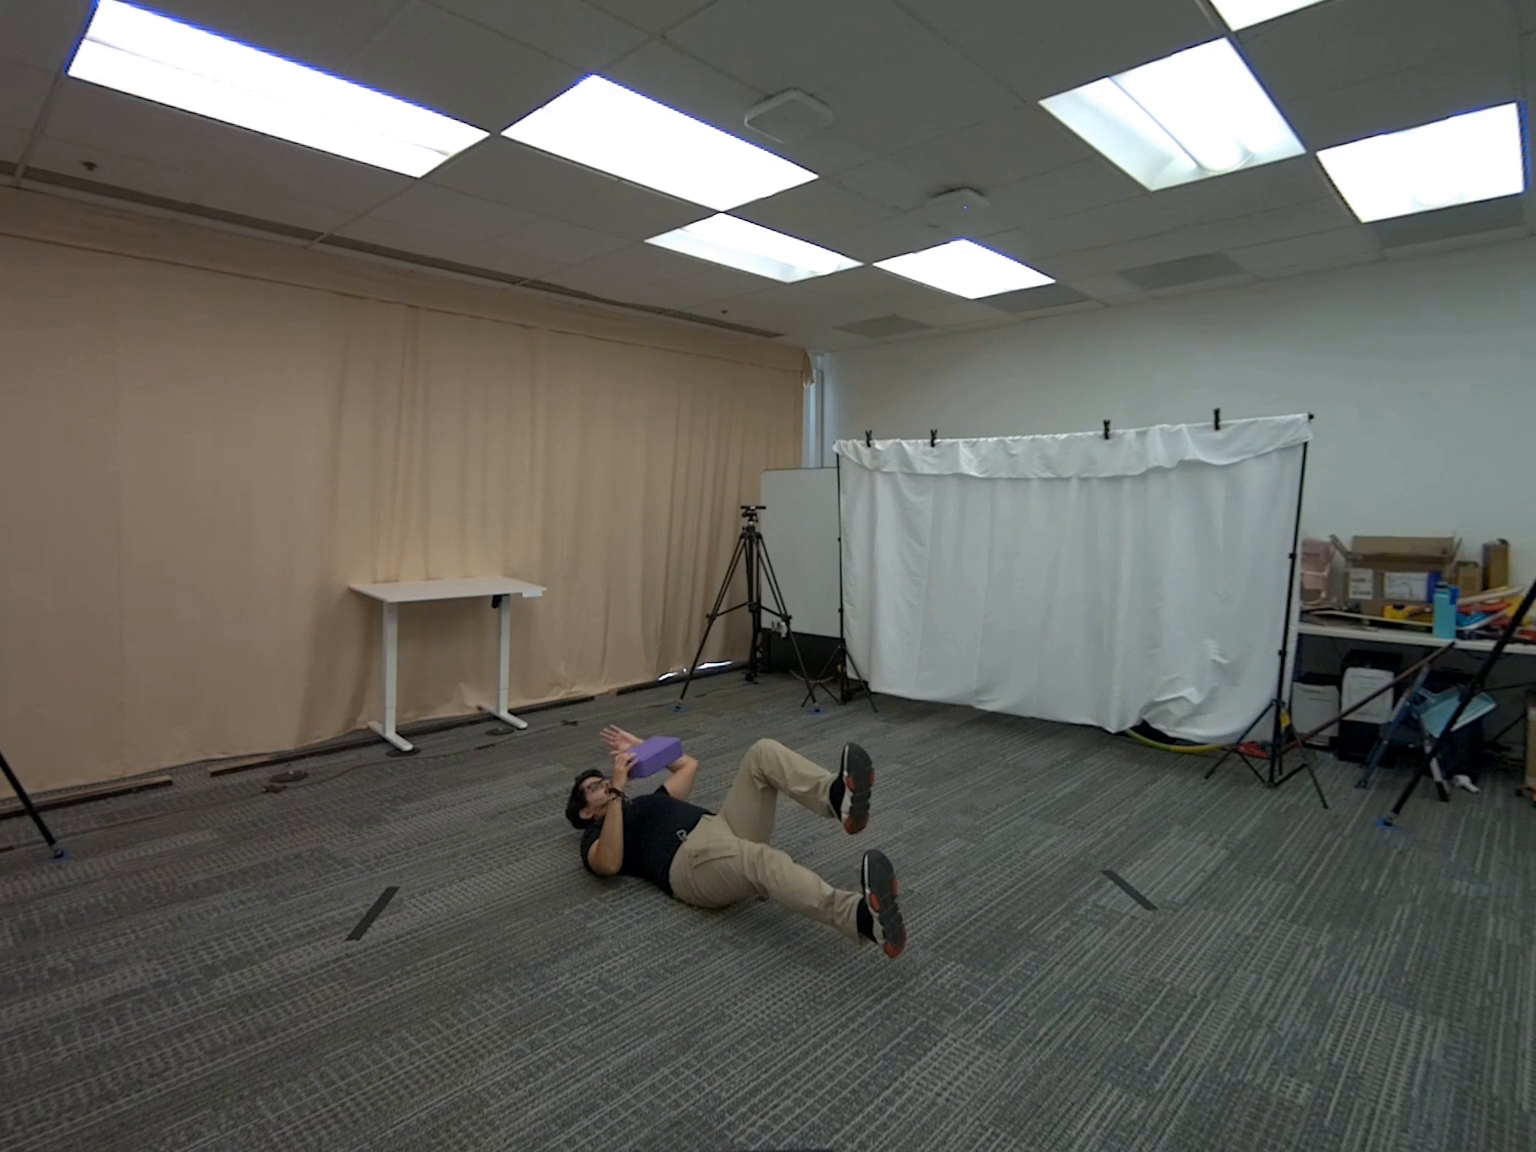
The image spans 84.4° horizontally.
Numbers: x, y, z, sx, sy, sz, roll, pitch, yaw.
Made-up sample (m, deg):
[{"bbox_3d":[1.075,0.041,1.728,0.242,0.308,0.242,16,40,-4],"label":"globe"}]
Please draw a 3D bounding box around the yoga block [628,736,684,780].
[{"bbox_3d":[-0.453,0.689,3.219,0.153,0.076,0.224,-4,11,31],"label":"yoga block"}]
